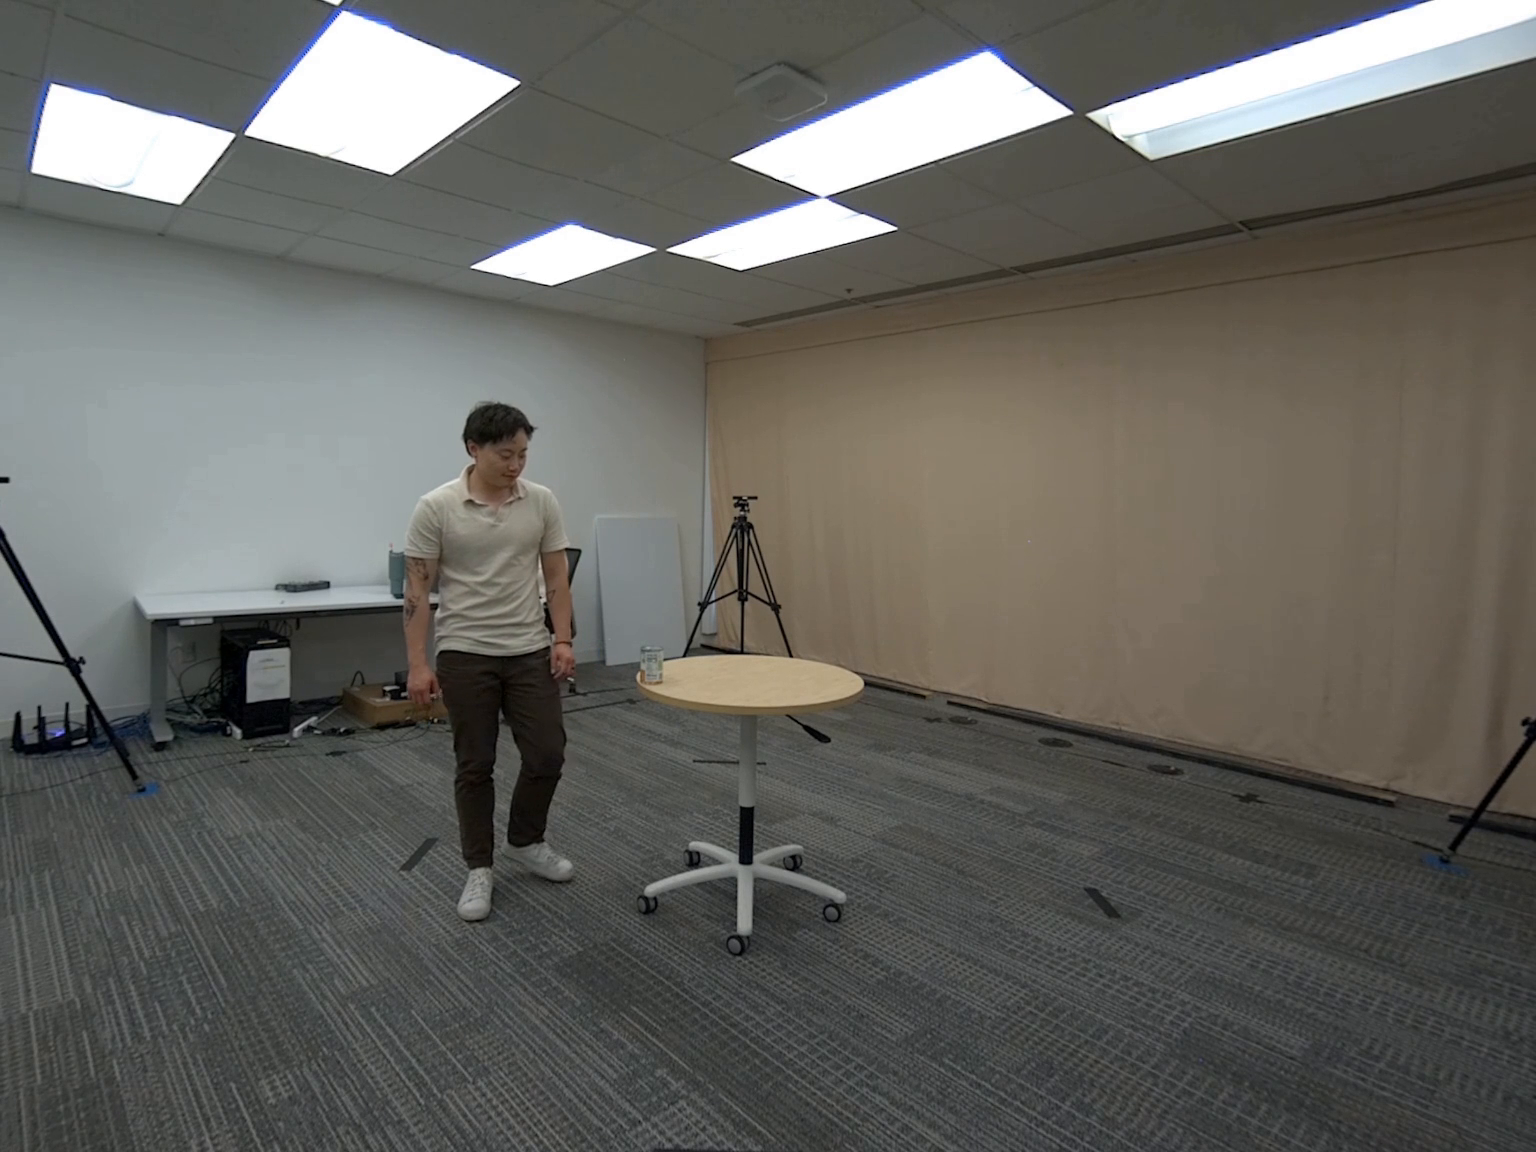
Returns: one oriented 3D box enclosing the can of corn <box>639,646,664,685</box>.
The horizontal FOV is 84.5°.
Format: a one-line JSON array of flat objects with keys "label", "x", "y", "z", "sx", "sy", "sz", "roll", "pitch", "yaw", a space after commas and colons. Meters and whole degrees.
[{"label": "can of corn", "x": -0.387, "y": 0.293, "z": 2.731, "sx": 0.074, "sy": 0.110, "sz": 0.074, "roll": 1, "pitch": 5, "yaw": -1}]
